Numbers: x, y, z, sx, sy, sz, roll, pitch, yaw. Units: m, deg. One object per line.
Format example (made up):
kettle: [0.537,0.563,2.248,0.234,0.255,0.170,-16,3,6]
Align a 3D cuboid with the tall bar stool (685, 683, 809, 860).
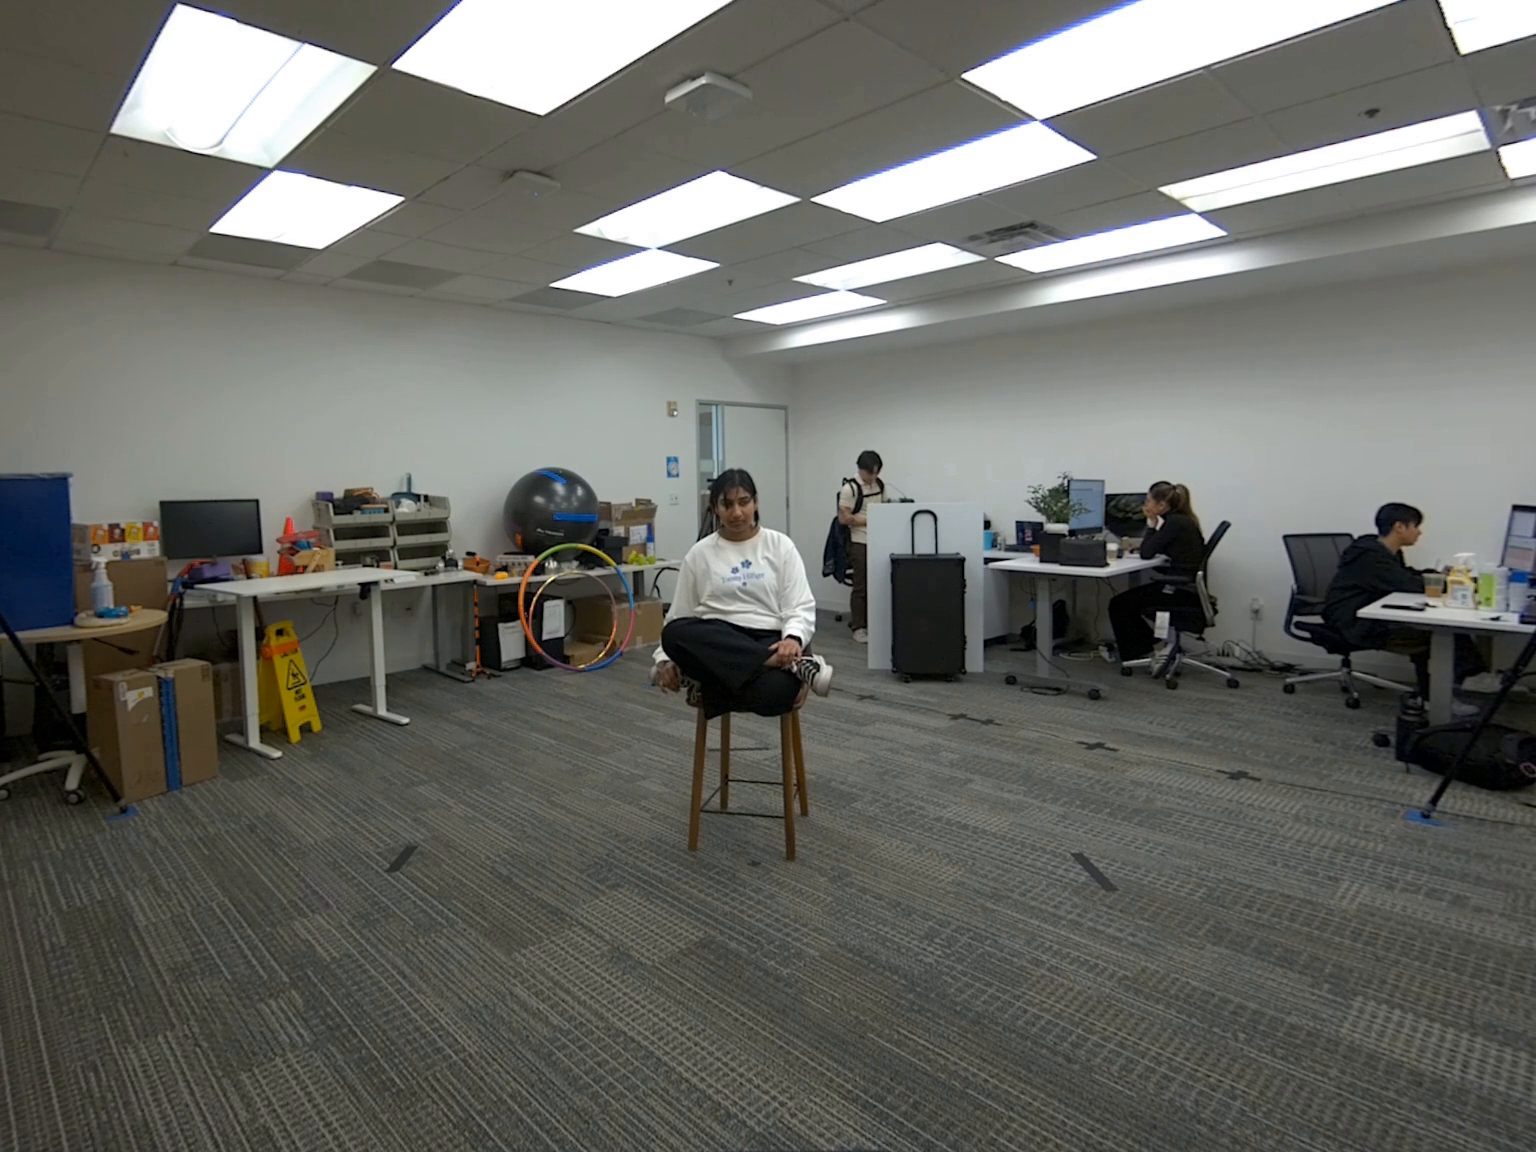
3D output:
tall bar stool: [-0.058,0.585,3.373,0.463,0.889,0.461,0,1,14]
